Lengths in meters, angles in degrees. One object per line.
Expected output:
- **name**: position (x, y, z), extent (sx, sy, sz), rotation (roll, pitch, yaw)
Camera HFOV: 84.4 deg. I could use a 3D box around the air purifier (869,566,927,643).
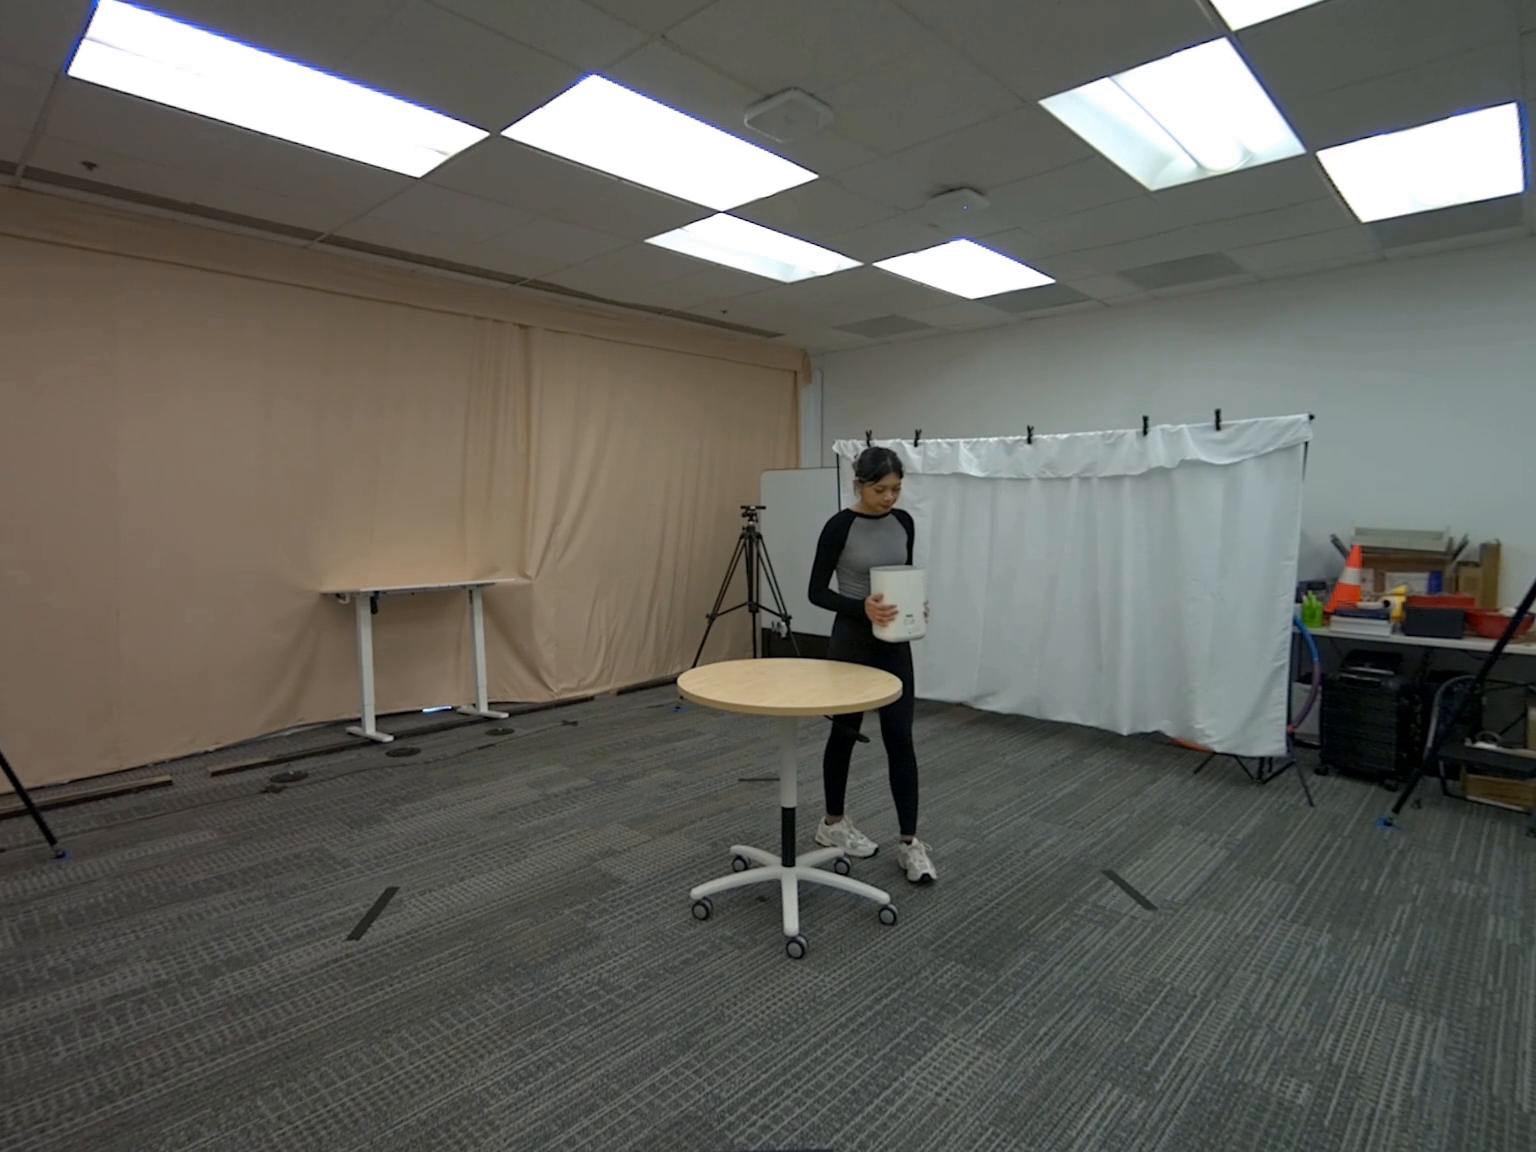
- **air purifier**: position (0.467, 0.101, 3.110), extent (0.170, 0.265, 0.172), rotation (-1, 3, -7)
